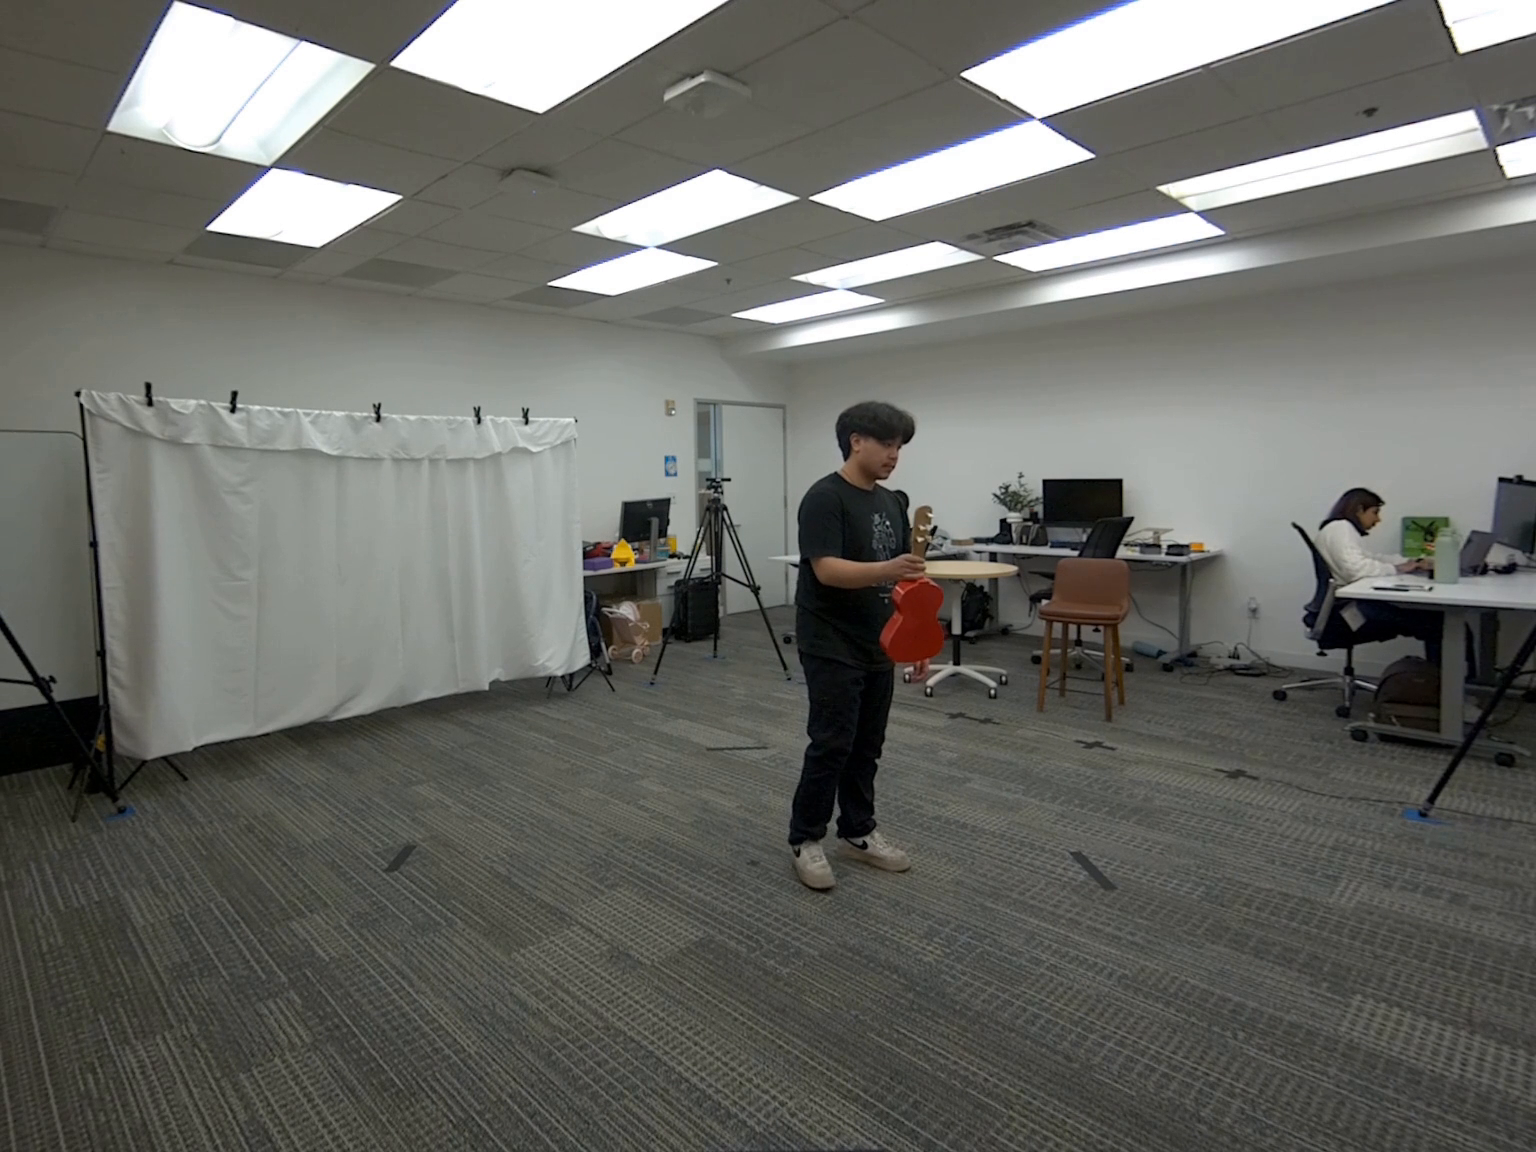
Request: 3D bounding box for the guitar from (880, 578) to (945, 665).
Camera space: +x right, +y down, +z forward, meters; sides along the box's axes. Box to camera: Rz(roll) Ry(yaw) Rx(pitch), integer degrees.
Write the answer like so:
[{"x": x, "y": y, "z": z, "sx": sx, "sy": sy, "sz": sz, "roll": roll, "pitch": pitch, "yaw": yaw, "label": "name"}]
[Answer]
[{"x": 0.420, "y": 0.038, "z": 2.618, "sx": 0.191, "sy": 0.487, "sz": 0.073, "roll": -12, "pitch": 22, "yaw": -10, "label": "guitar"}]
